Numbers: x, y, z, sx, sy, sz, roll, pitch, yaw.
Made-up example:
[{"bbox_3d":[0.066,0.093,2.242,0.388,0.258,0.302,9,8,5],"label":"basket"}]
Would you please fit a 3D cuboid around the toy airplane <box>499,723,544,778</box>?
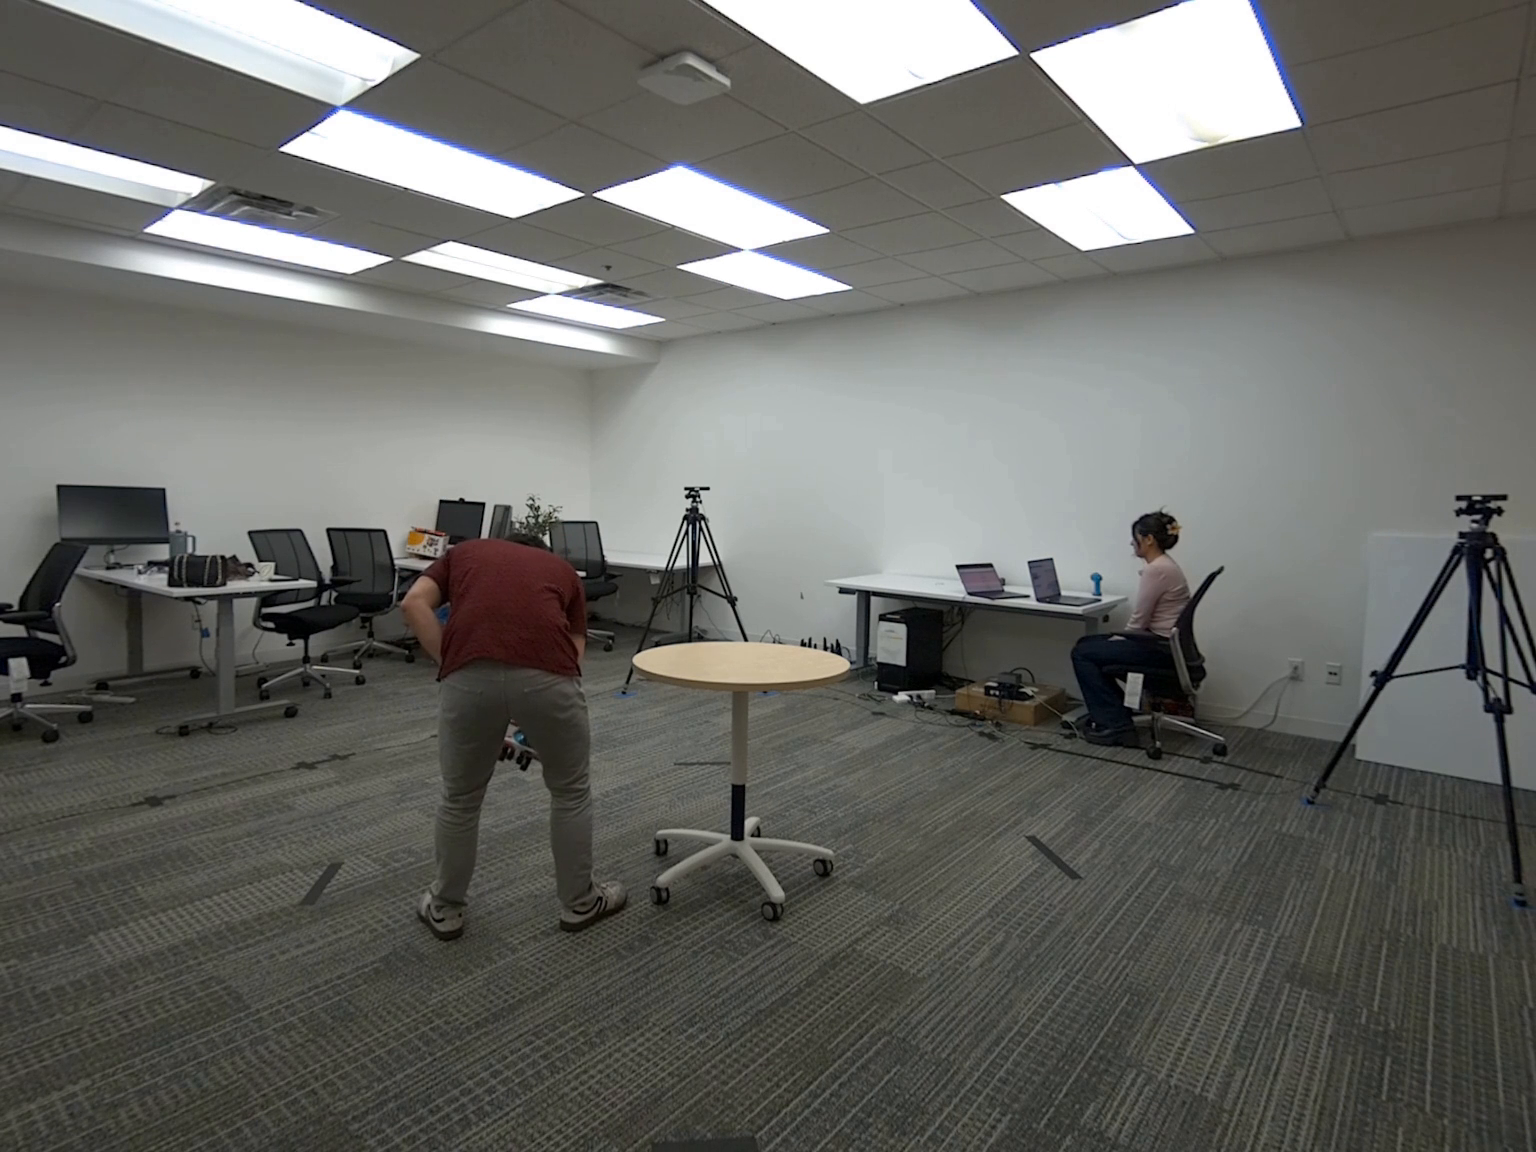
[{"bbox_3d":[-0.849,0.588,2.956,0.267,0.158,0.241,-4,-34,48],"label":"toy airplane"}]
